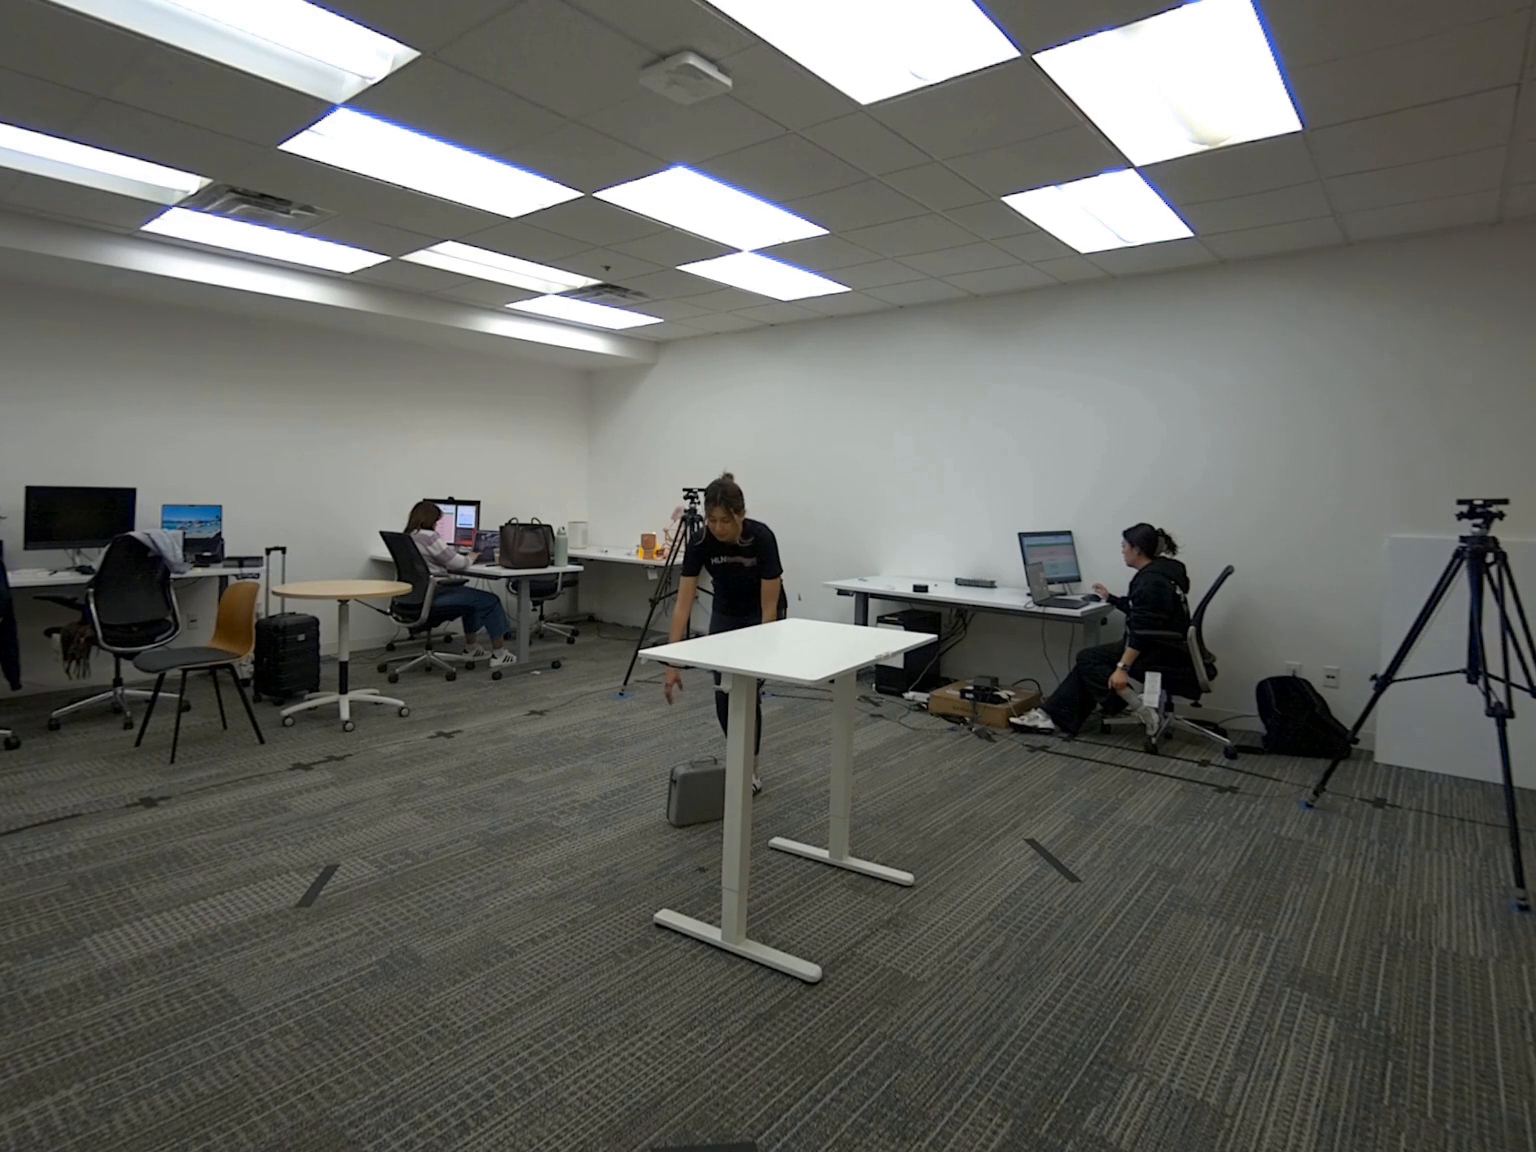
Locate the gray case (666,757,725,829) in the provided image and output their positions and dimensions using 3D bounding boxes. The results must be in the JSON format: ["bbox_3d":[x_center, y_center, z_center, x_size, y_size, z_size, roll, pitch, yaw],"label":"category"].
[{"bbox_3d":[-0.303,0.887,3.553,0.250,0.258,0.108,-2,12,-28],"label":"gray case"}]
